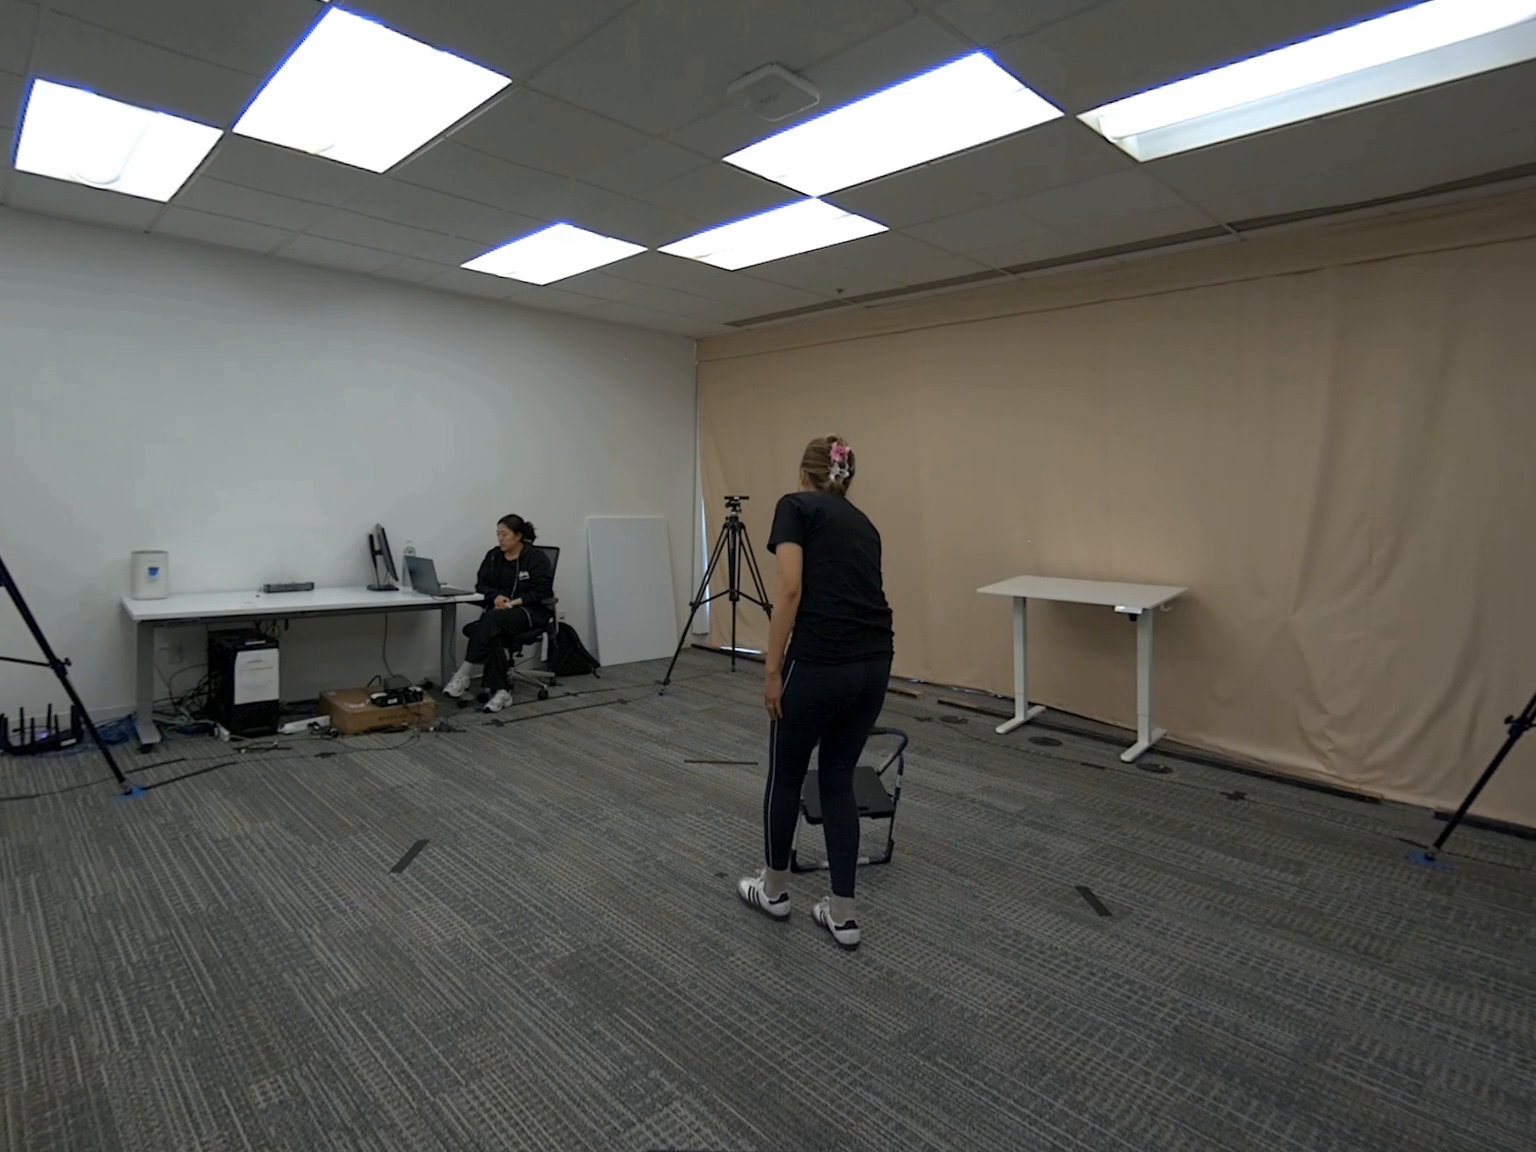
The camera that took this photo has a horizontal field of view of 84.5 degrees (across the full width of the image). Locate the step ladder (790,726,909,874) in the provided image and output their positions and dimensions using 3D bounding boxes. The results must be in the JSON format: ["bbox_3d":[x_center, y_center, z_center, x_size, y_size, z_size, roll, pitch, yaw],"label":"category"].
[{"bbox_3d":[0.273,0.766,3.190,0.424,0.597,0.359,0,30,-19],"label":"step ladder"}]
